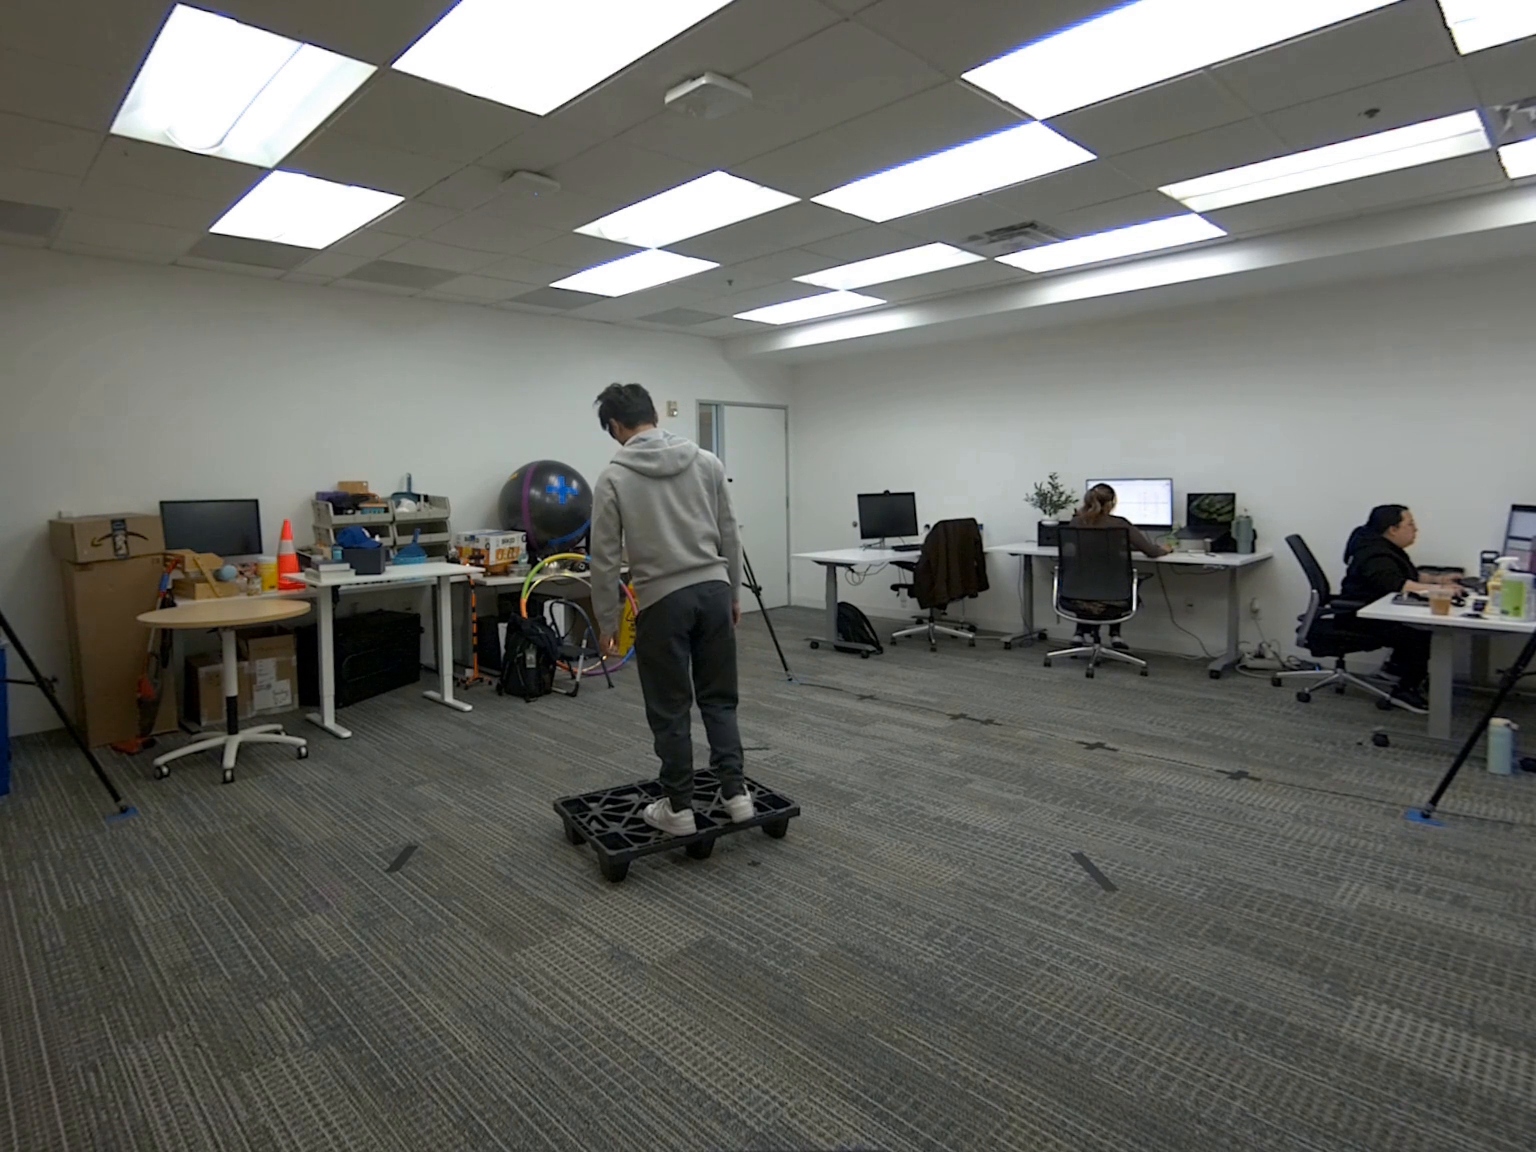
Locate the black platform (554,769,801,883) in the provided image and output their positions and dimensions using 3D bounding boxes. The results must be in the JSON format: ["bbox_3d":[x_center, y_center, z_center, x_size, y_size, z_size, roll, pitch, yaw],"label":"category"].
[{"bbox_3d":[-0.355,0.956,3.348,0.787,0.142,0.623,-5,8,-31],"label":"black platform"}]
